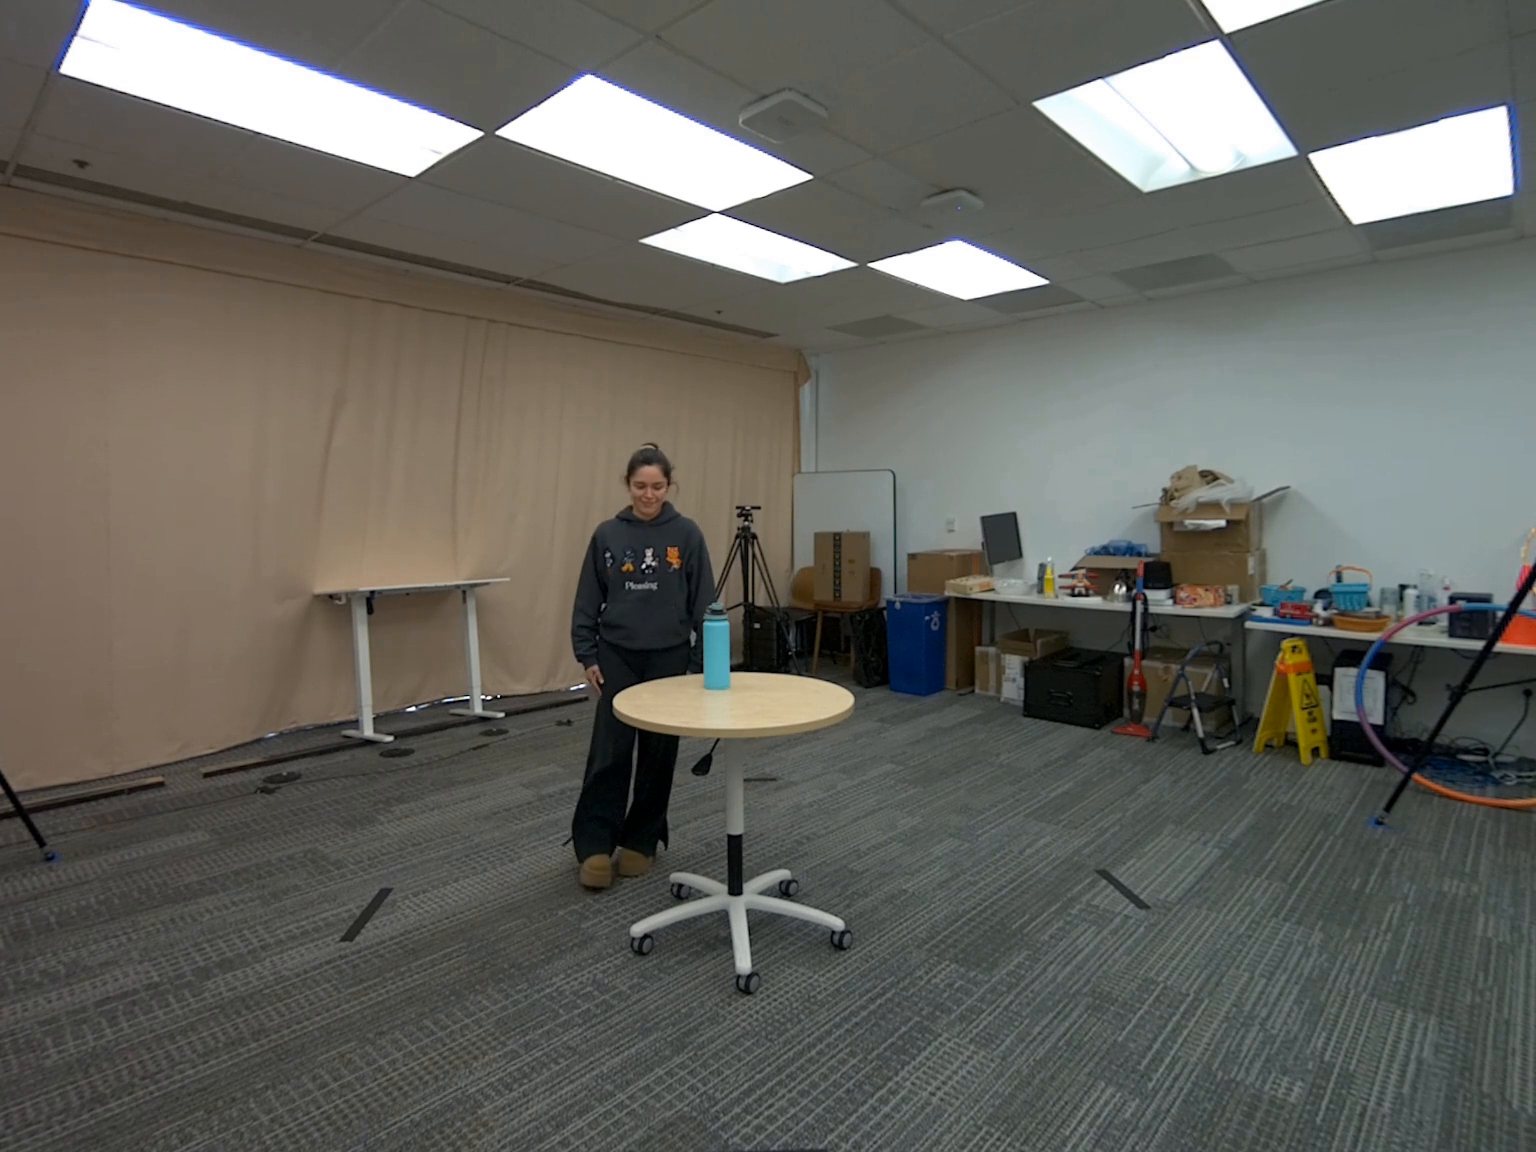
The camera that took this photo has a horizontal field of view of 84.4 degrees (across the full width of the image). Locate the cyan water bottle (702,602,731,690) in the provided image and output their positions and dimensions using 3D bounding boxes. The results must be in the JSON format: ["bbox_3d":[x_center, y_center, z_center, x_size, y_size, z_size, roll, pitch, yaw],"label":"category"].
[{"bbox_3d":[-0.163,0.235,2.830,0.092,0.283,0.092,-1,1,-2],"label":"cyan water bottle"}]
